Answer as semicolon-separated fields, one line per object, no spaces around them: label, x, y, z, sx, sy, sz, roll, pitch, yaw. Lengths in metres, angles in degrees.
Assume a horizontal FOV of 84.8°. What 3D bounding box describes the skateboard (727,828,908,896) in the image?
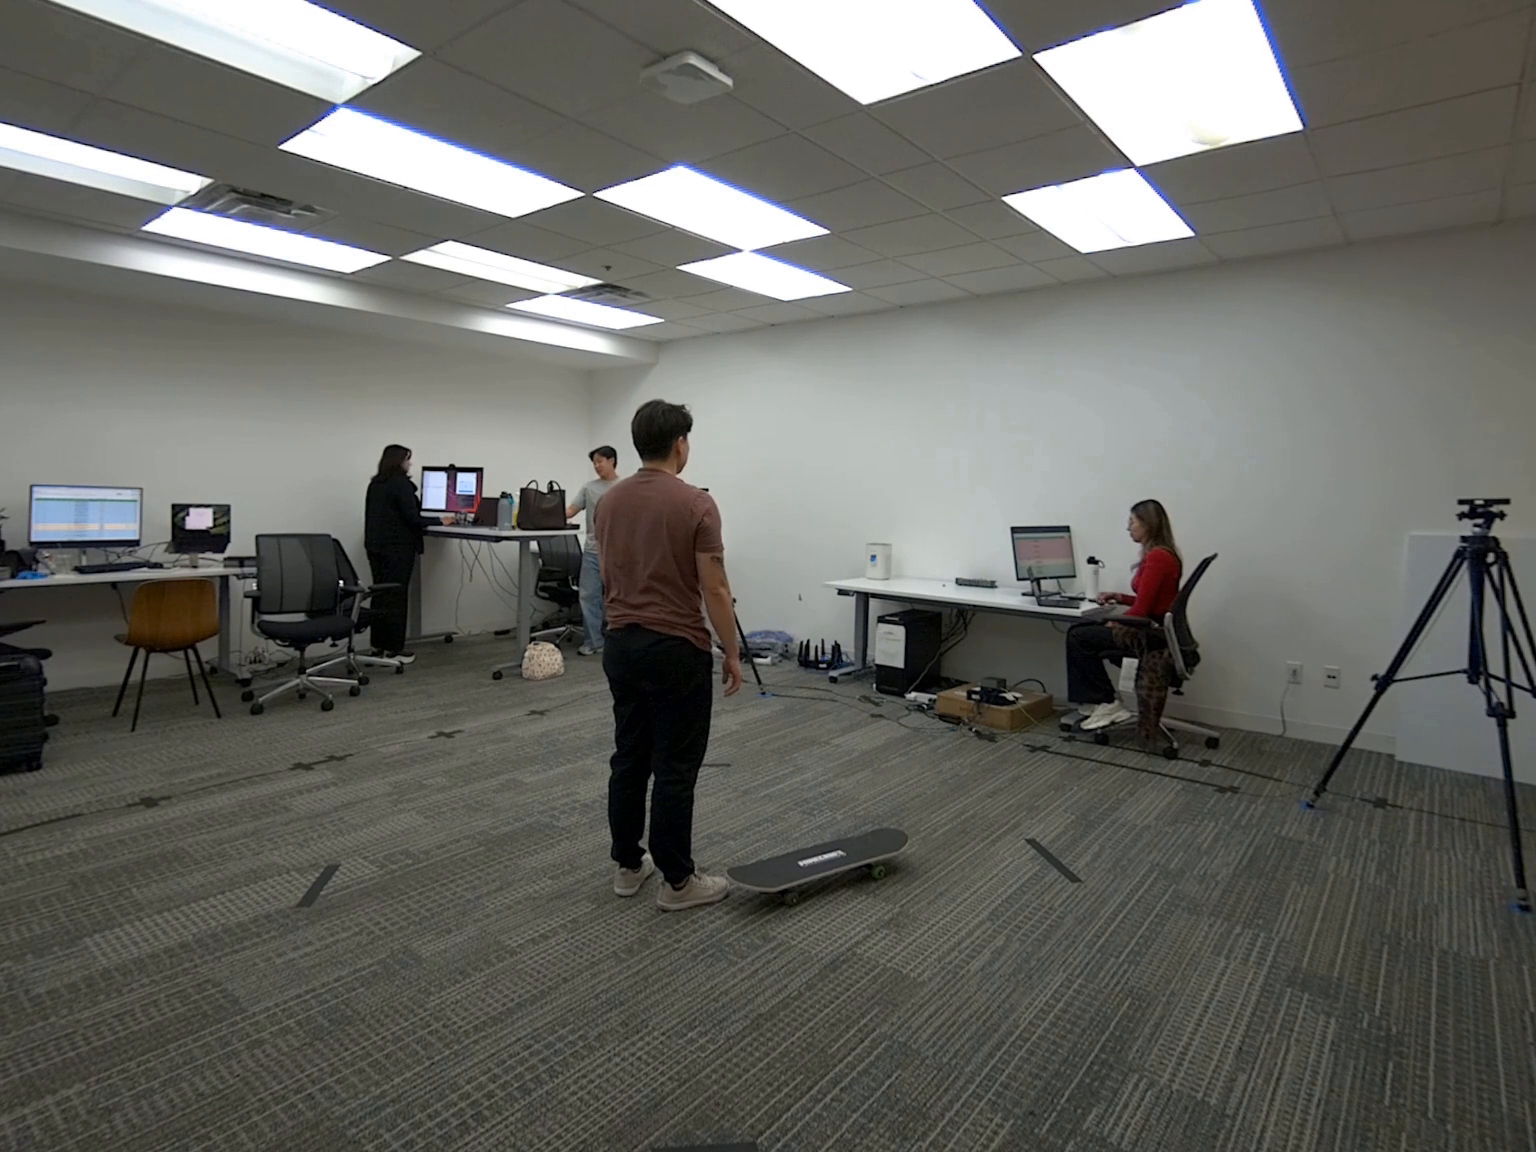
skateboard;0.186;1.037;3.016;0.763;0.110;0.200;-3;8;-35
